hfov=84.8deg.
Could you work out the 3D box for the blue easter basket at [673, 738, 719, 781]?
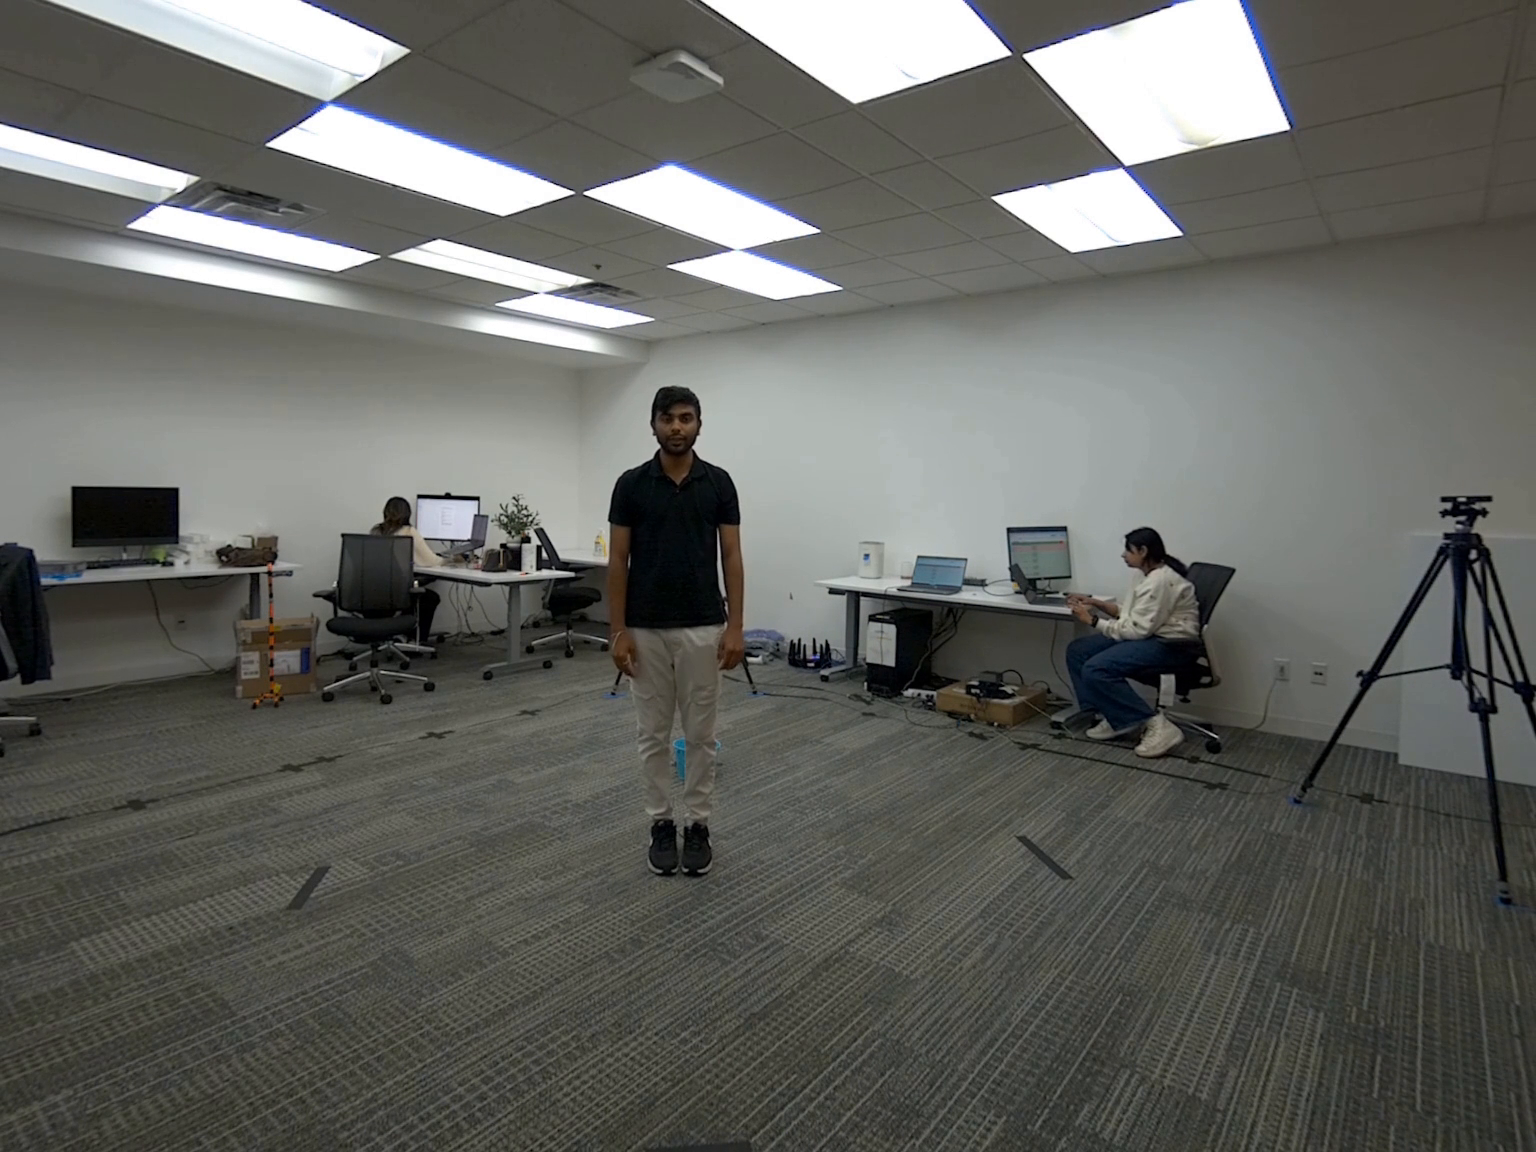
[{"bbox_3d":[-0.351,0.878,4.130,0.243,0.155,0.245,0,6,-2],"label":"blue easter basket"}]
